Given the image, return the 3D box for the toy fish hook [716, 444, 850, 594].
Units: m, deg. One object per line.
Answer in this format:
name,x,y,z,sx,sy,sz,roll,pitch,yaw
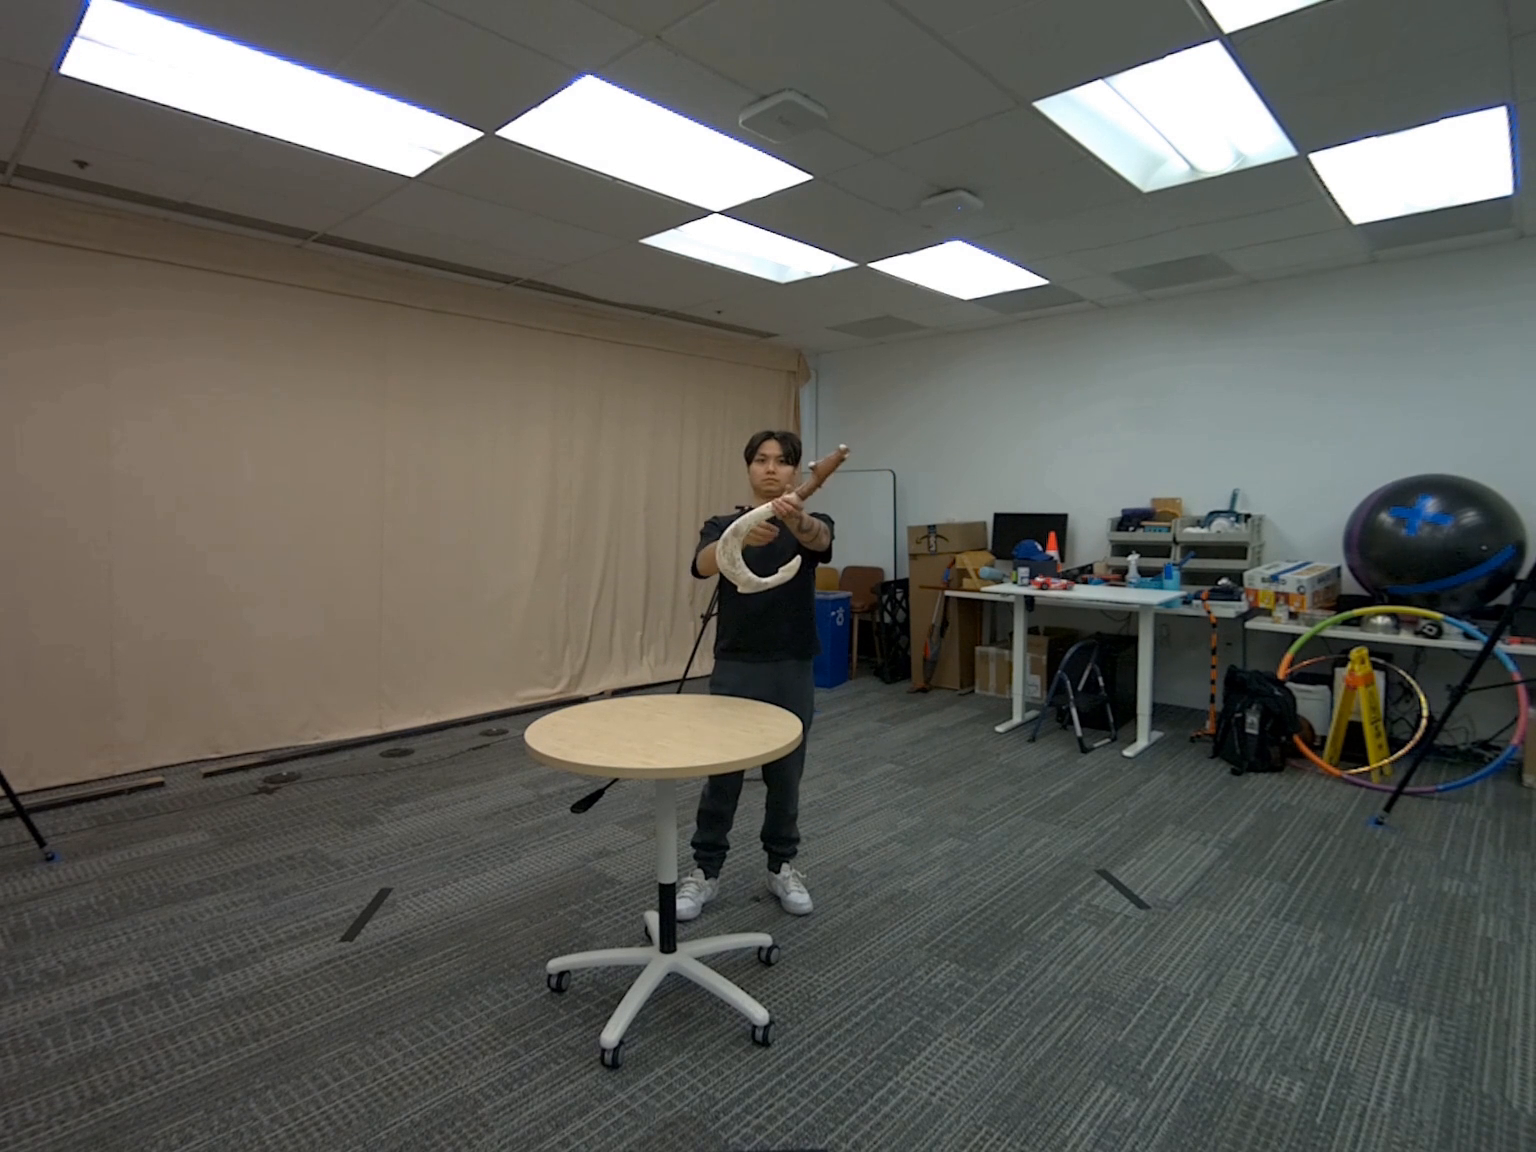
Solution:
toy fish hook,0.082,-0.156,2.397,0.224,0.506,0.048,44,0,-3
